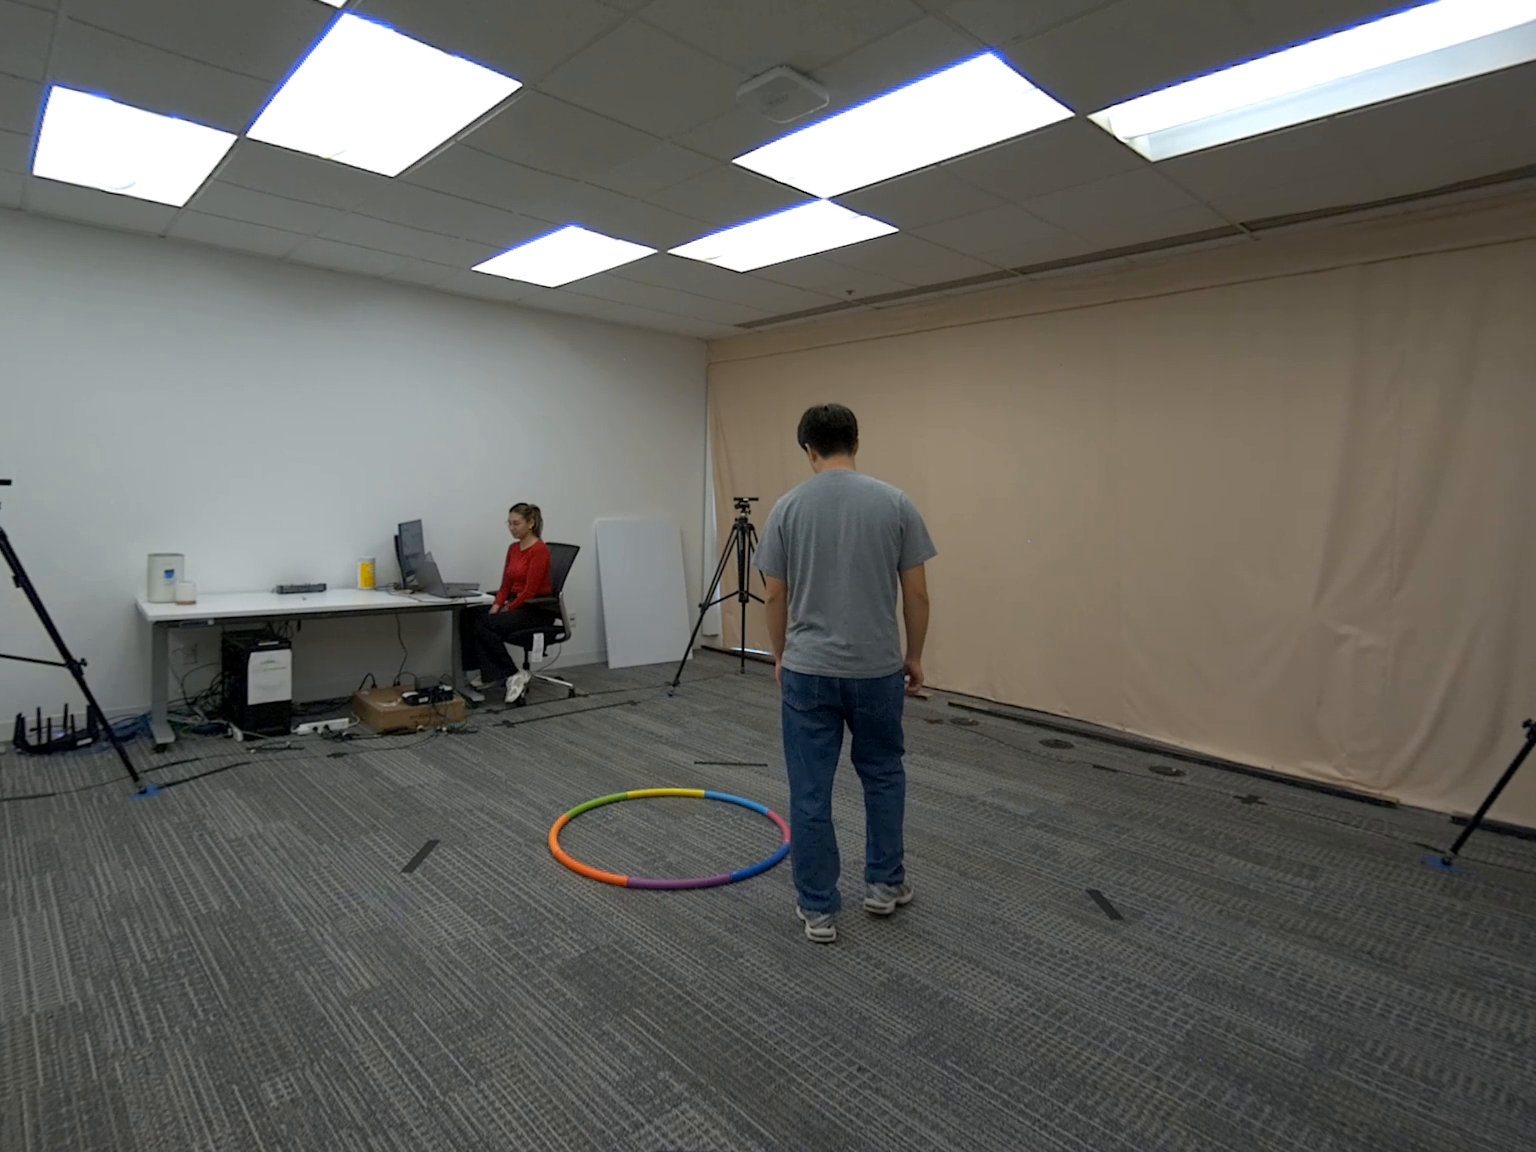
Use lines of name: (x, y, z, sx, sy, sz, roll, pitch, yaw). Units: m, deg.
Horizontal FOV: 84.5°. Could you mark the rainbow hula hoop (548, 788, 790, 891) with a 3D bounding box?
rainbow hula hoop: (-0.407, 1.039, 3.463, 0.978, 0.035, 0.982, 2, 5, -1)
